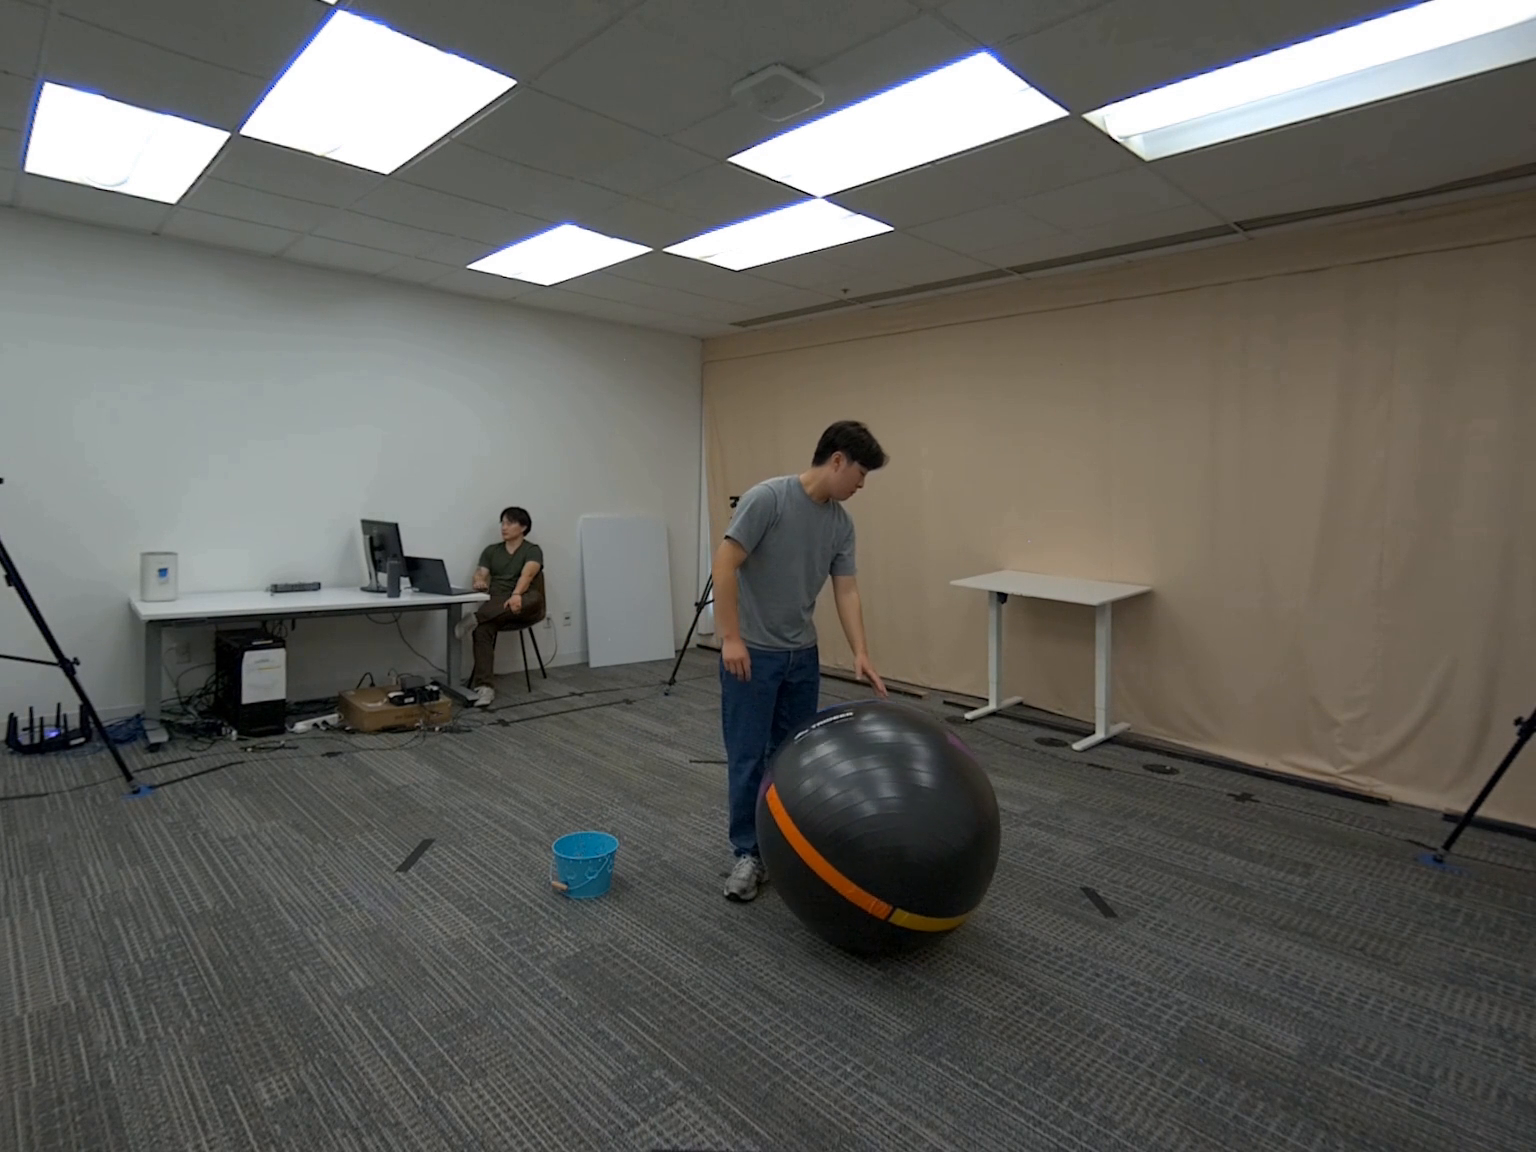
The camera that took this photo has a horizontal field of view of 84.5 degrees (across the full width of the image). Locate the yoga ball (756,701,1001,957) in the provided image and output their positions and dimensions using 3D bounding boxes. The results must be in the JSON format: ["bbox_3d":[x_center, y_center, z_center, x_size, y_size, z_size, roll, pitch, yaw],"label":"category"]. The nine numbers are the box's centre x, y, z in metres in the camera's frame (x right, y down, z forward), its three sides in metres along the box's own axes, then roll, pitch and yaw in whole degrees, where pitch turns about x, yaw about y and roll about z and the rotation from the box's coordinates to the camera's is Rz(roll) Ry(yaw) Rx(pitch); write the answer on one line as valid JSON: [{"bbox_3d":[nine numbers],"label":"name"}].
[{"bbox_3d":[0.341,0.786,2.663,0.757,0.756,0.761,1,4,-1],"label":"yoga ball"}]
